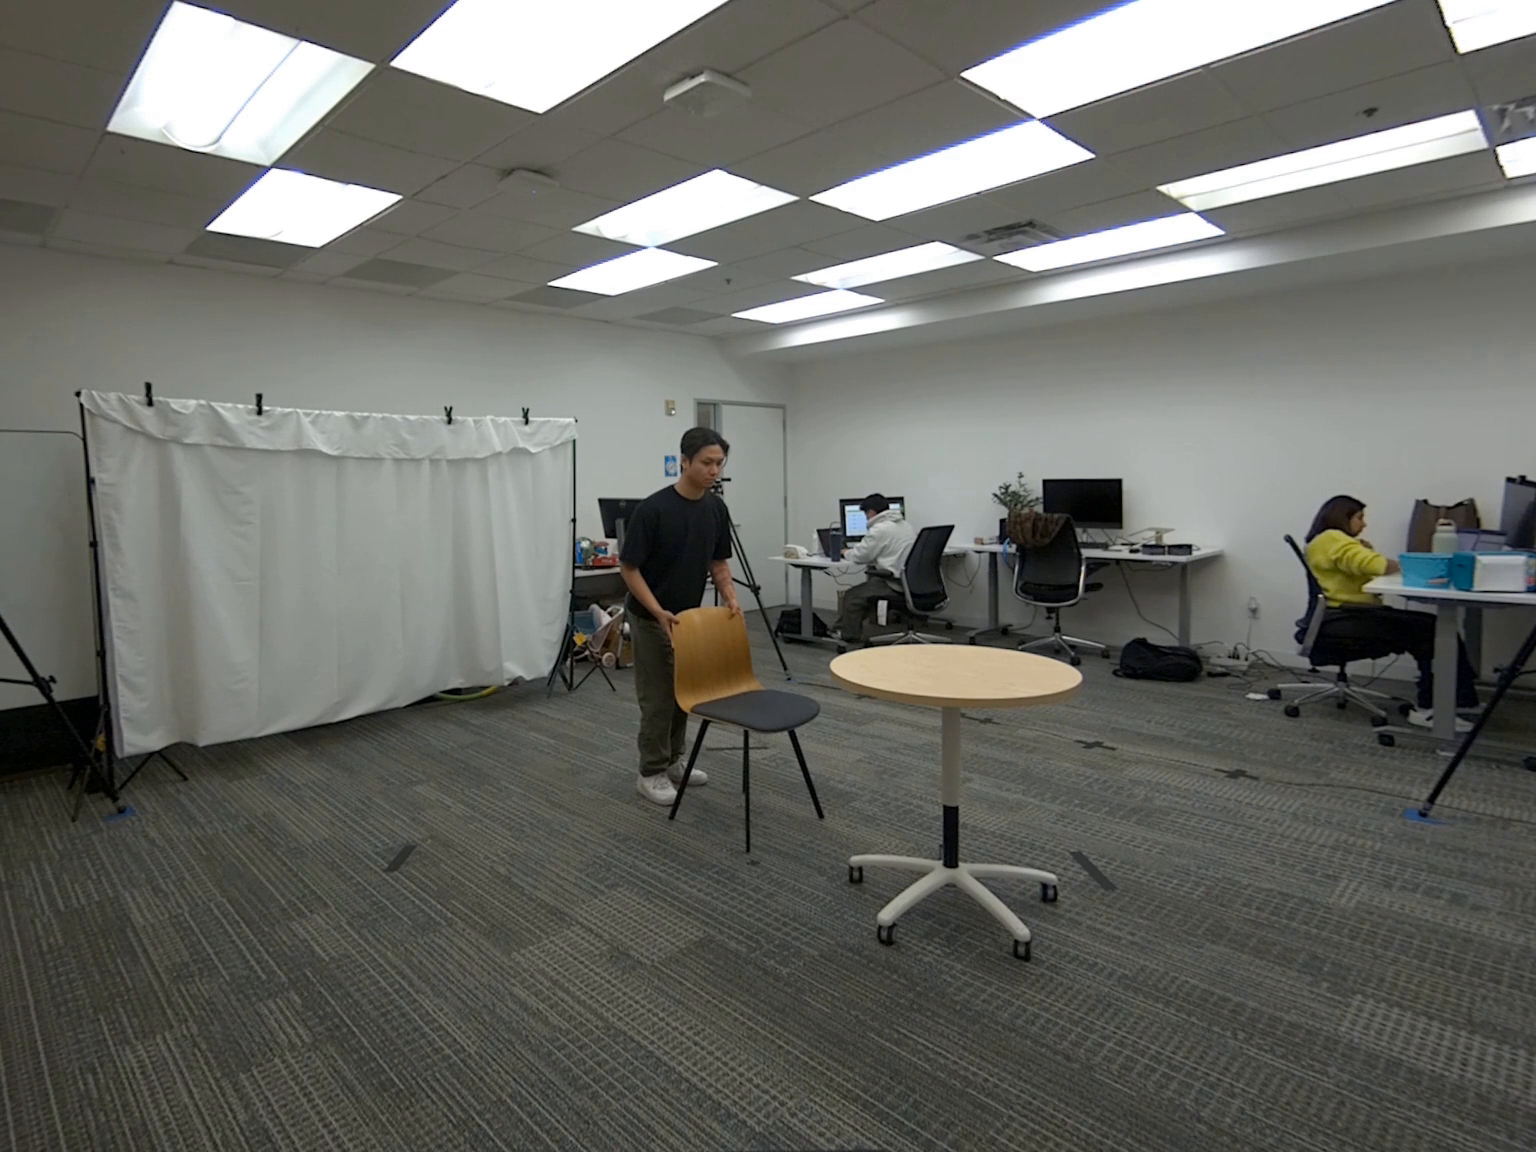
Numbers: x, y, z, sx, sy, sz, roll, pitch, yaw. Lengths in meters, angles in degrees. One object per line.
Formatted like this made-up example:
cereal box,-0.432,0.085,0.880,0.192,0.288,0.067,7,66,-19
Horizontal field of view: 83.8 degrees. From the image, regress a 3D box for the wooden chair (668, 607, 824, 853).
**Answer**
wooden chair,-0.087,0.573,3.460,0.538,0.877,0.465,-3,1,44
